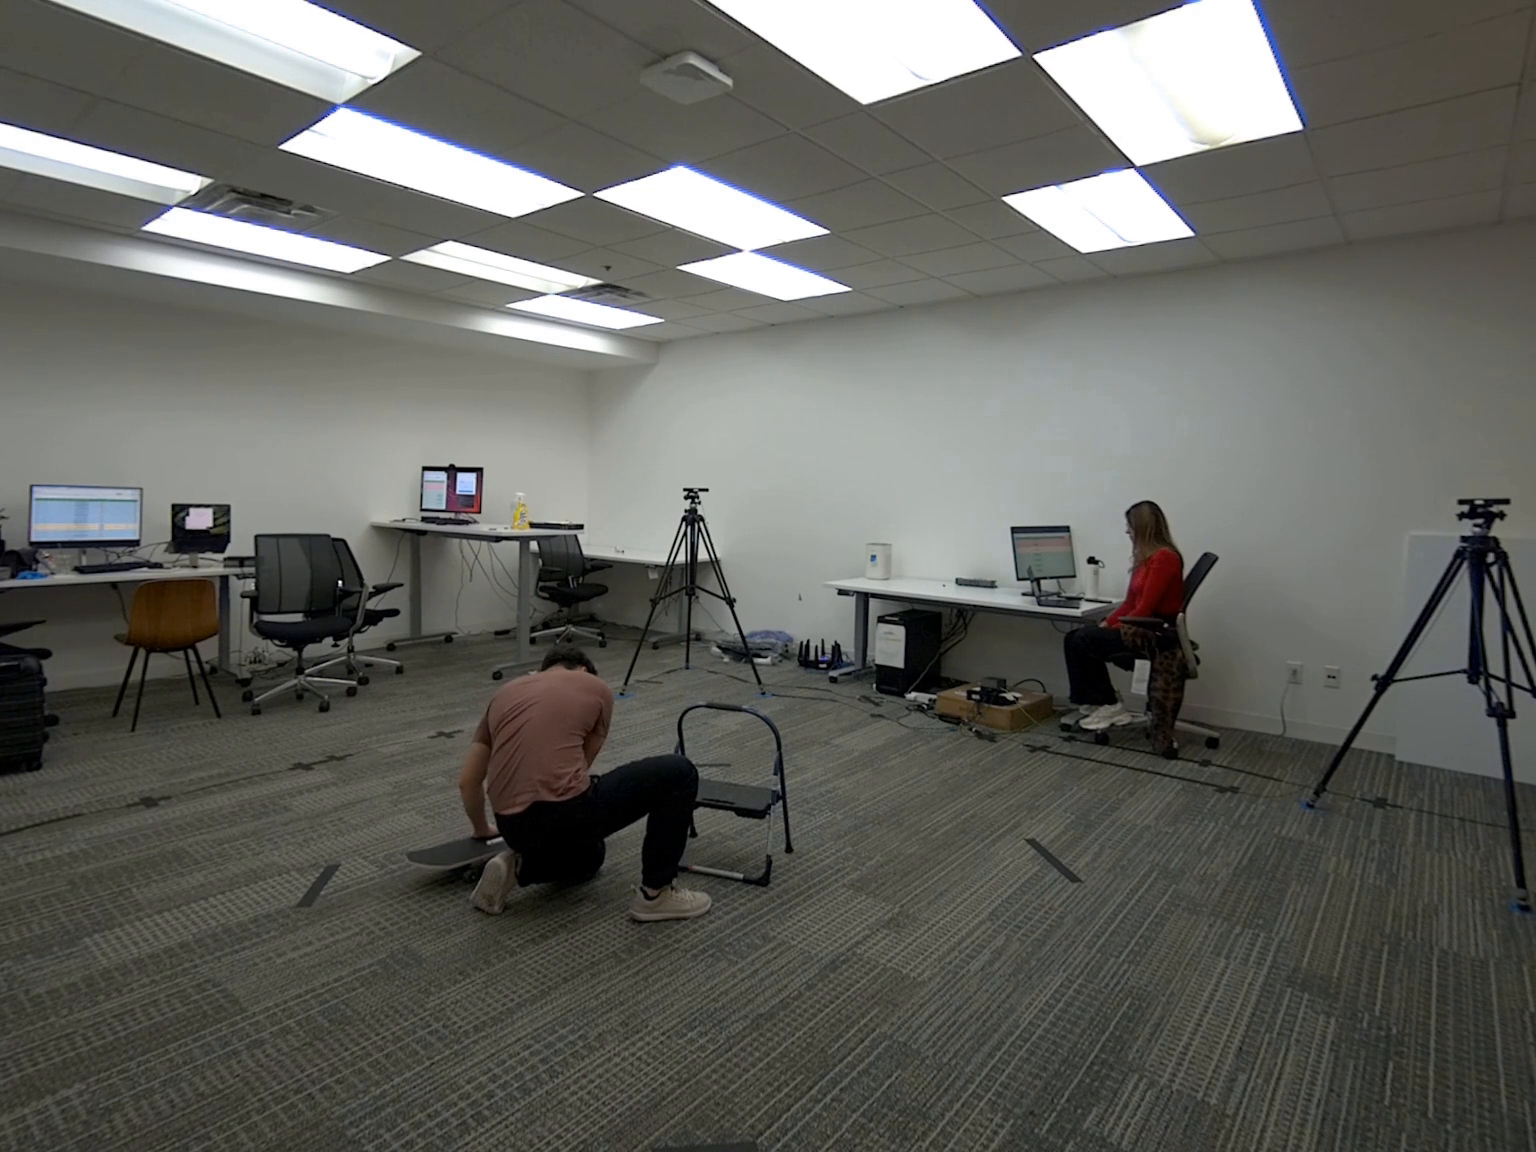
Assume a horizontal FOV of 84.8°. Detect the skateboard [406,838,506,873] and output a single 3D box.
[{"bbox_3d":[-0.953,0.994,3.163,0.762,0.110,0.200,-4,5,-41],"label":"skateboard"}]
